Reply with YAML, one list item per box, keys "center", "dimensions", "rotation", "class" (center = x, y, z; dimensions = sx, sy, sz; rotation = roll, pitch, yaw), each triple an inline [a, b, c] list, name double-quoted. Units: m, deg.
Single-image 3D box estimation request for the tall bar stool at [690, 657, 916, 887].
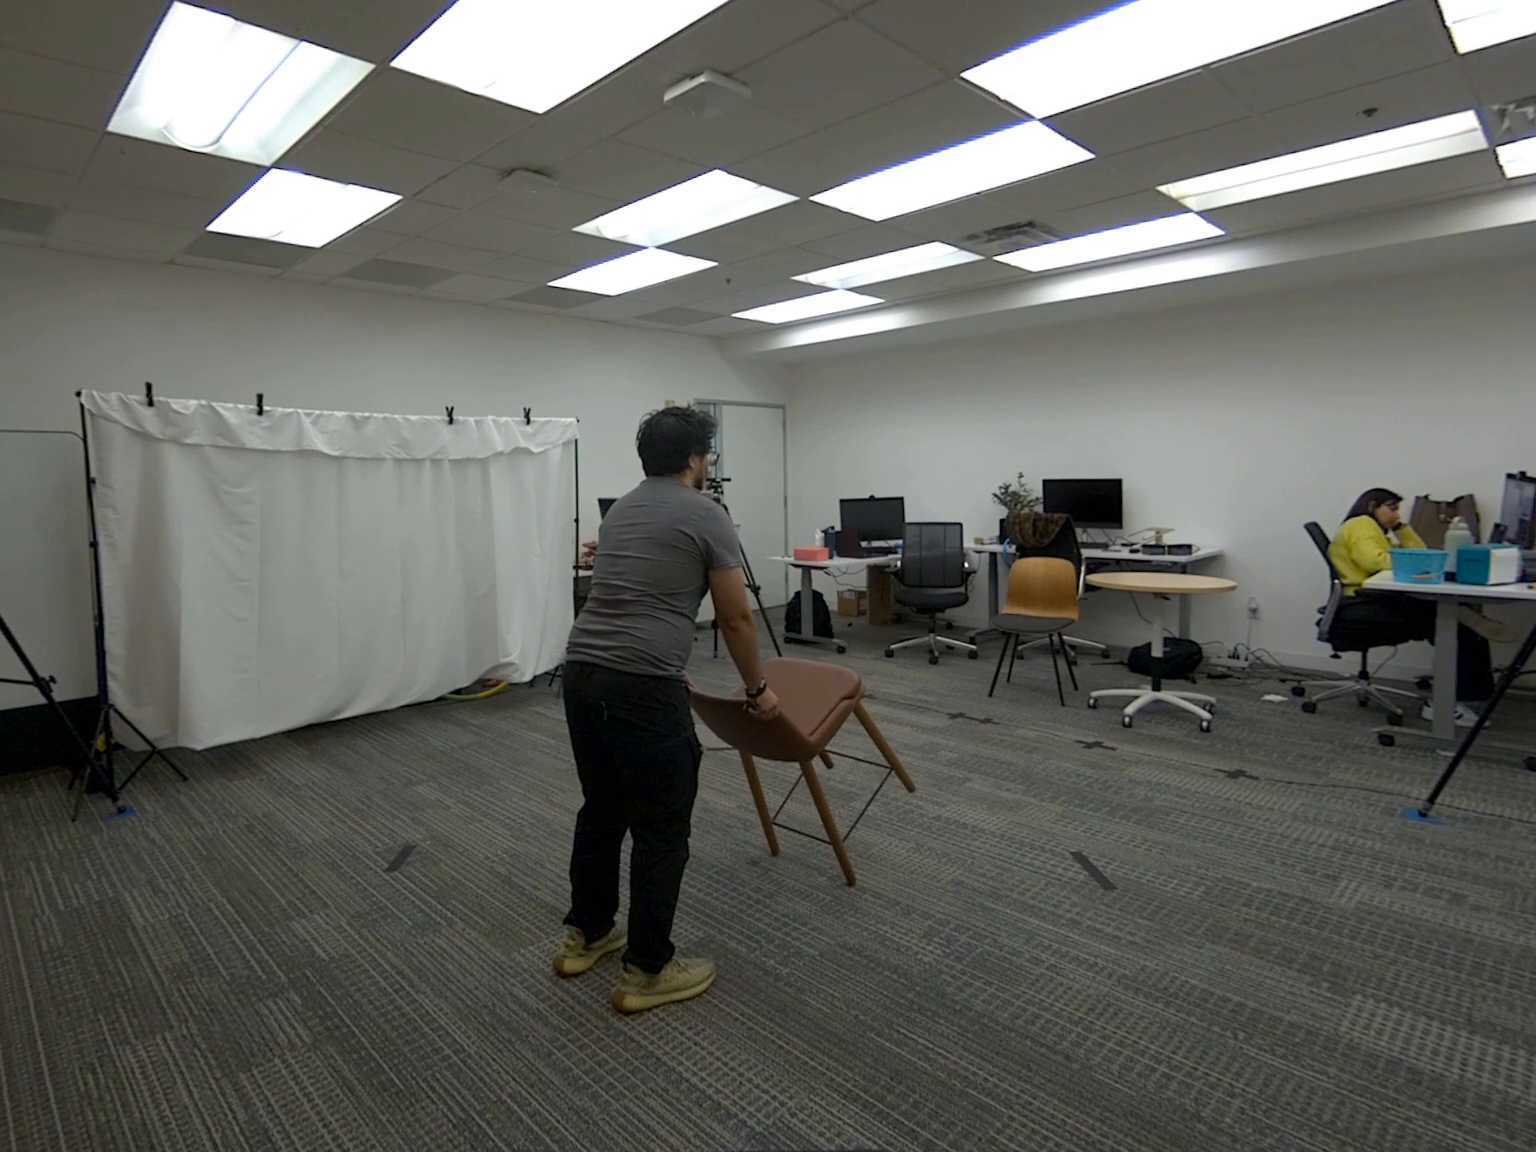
- center: [0.111, 0.575, 2.978]
  dimensions: [0.471, 0.863, 0.467]
  rotation: [4, 41, 44]
  class: "tall bar stool"
